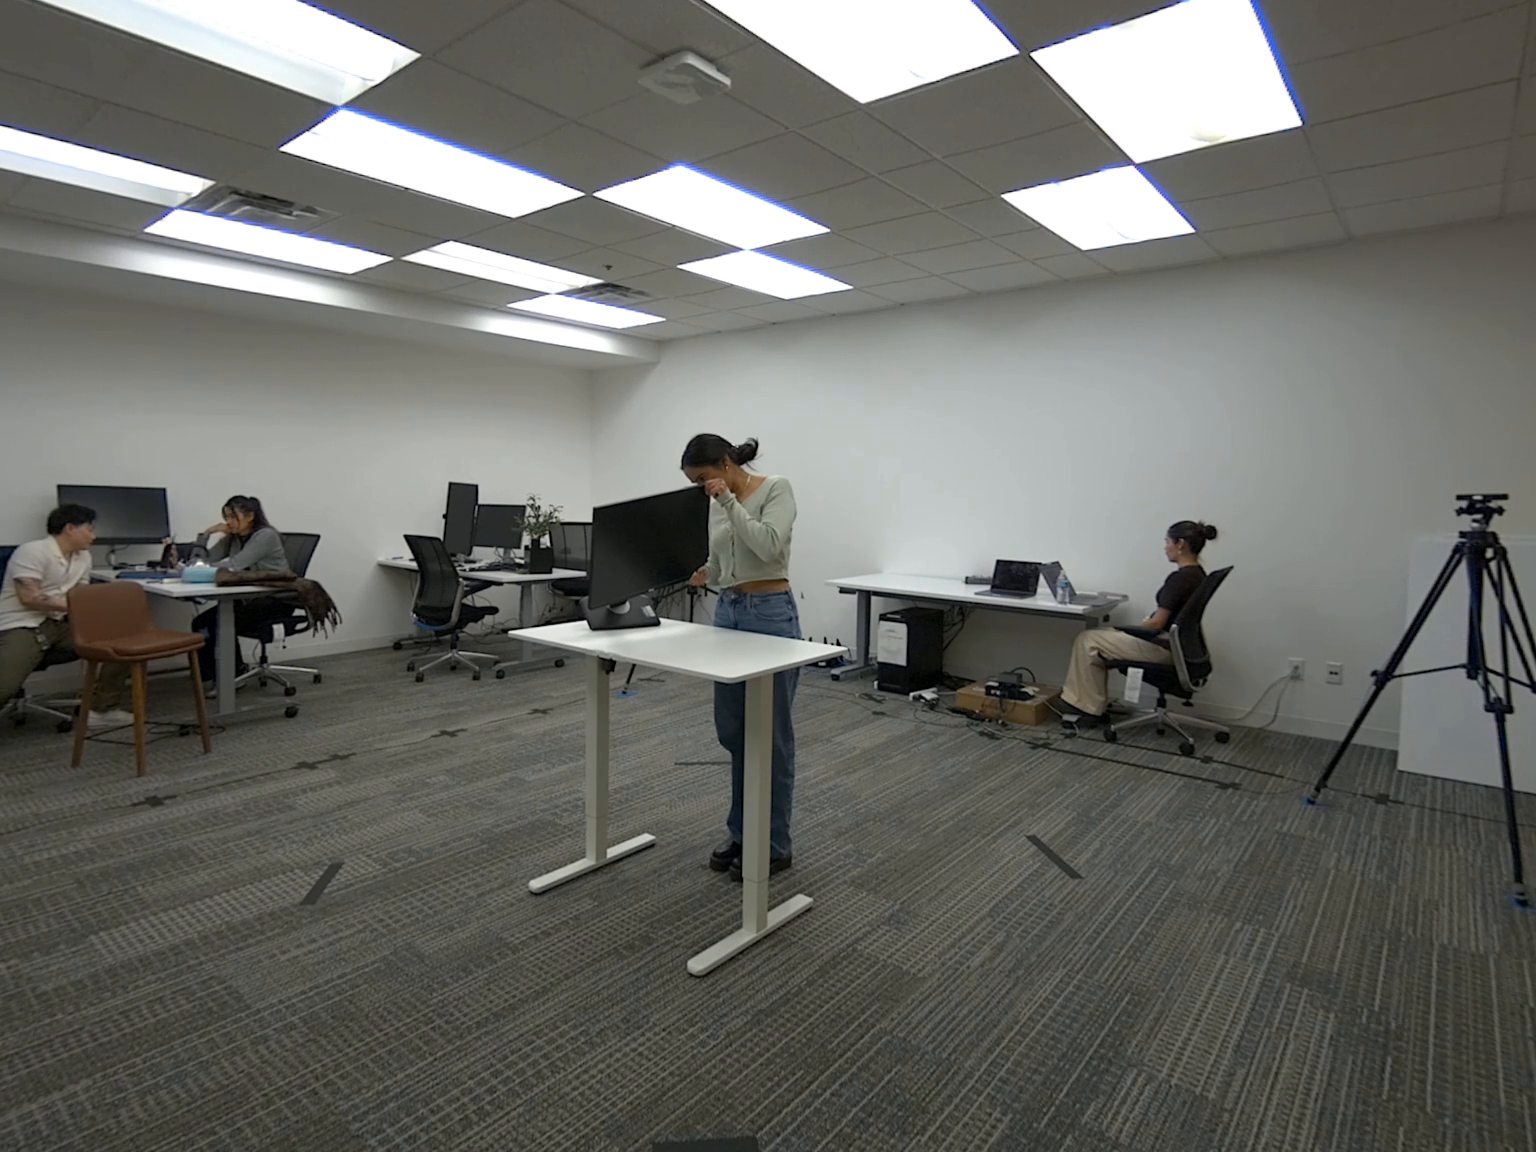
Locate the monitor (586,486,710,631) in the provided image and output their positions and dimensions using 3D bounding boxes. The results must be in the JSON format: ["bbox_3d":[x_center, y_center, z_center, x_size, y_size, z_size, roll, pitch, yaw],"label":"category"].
[{"bbox_3d":[-0.457,-0.054,2.947,0.194,0.515,0.528,35,33,26],"label":"monitor"}]
